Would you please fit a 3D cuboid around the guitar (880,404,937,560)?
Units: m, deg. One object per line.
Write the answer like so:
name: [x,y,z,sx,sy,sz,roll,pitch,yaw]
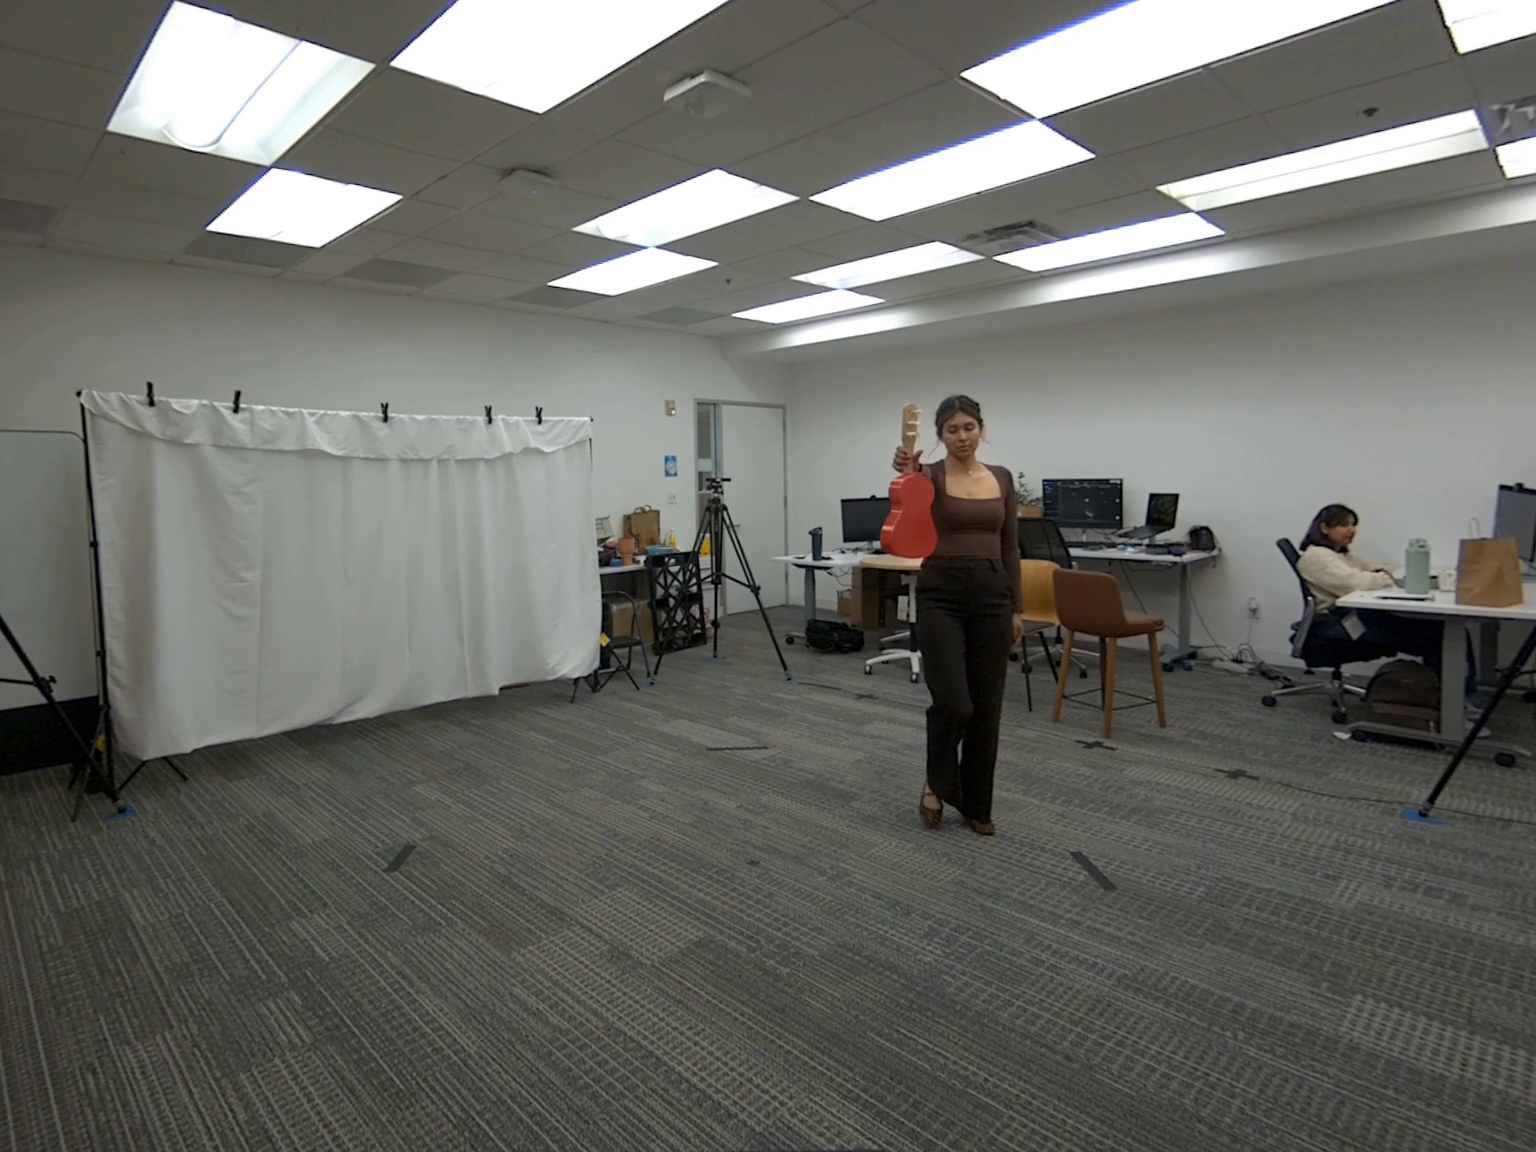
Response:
guitar: [0.442,-0.301,2.761,0.189,0.494,0.072,-10,8,-29]
